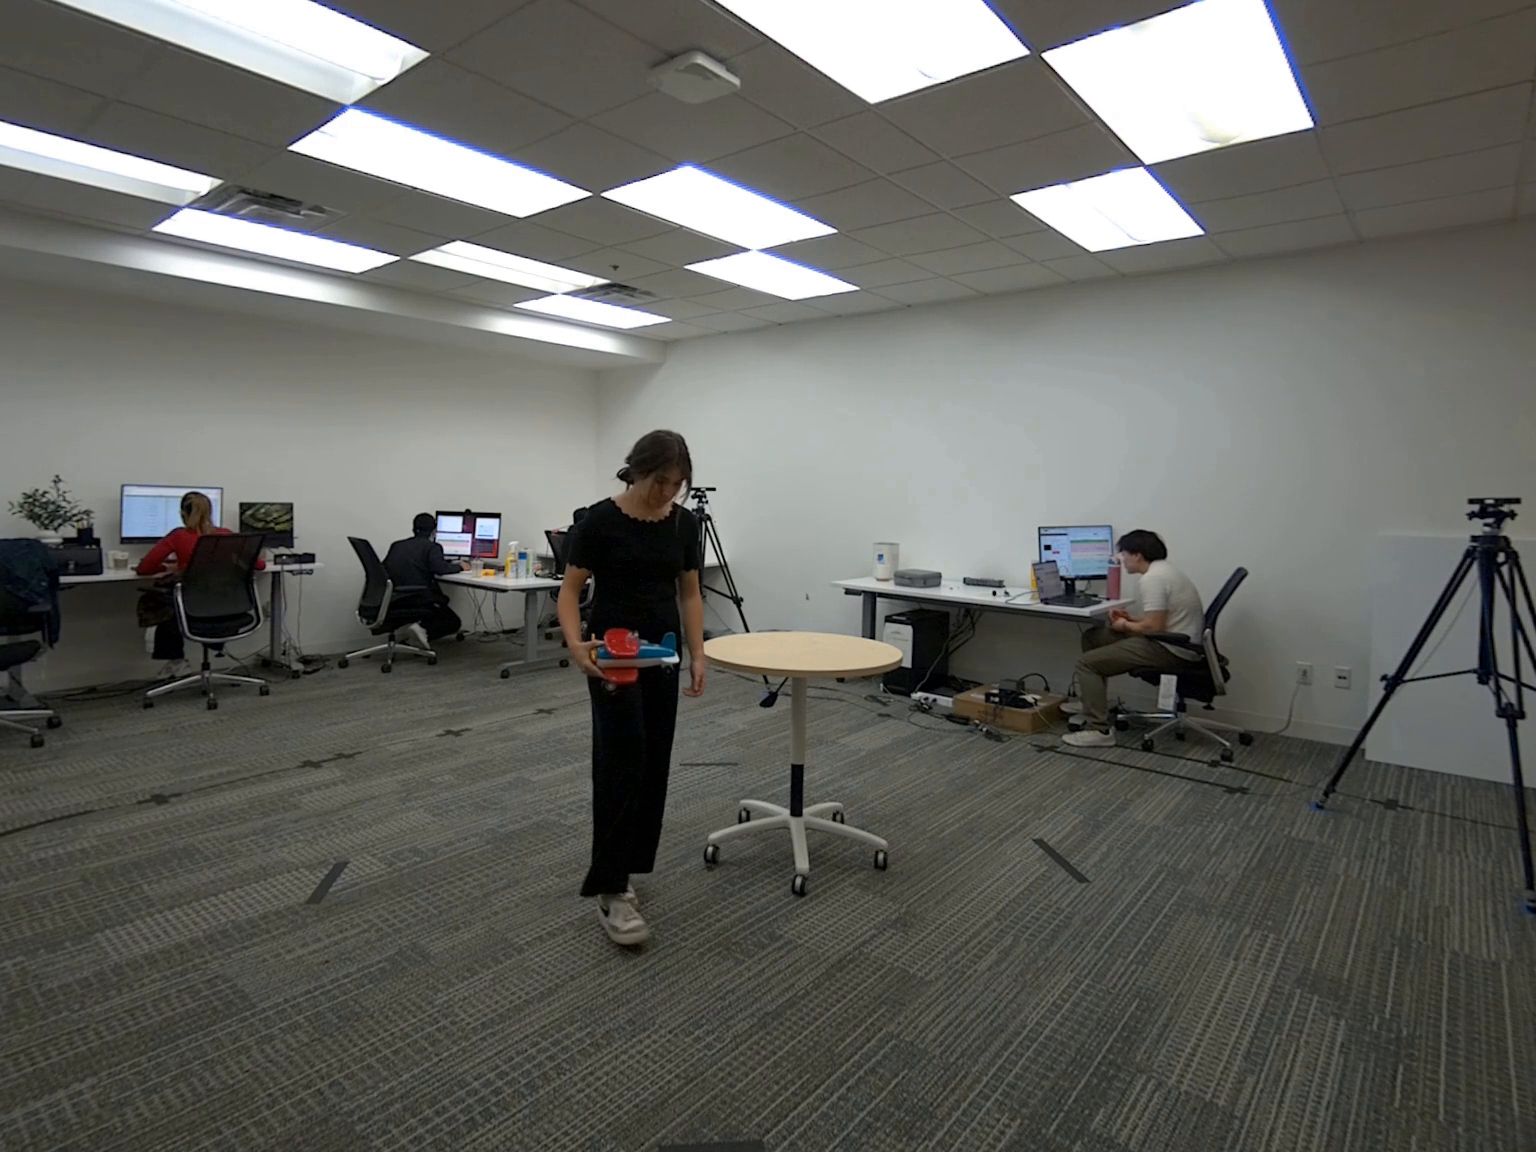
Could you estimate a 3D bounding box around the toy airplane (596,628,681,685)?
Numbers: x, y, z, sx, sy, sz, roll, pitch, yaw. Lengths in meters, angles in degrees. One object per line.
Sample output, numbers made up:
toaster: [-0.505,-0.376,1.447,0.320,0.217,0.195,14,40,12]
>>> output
toy airplane: [-0.419,0.240,2.577,0.254,0.154,0.259,-22,17,-35]
